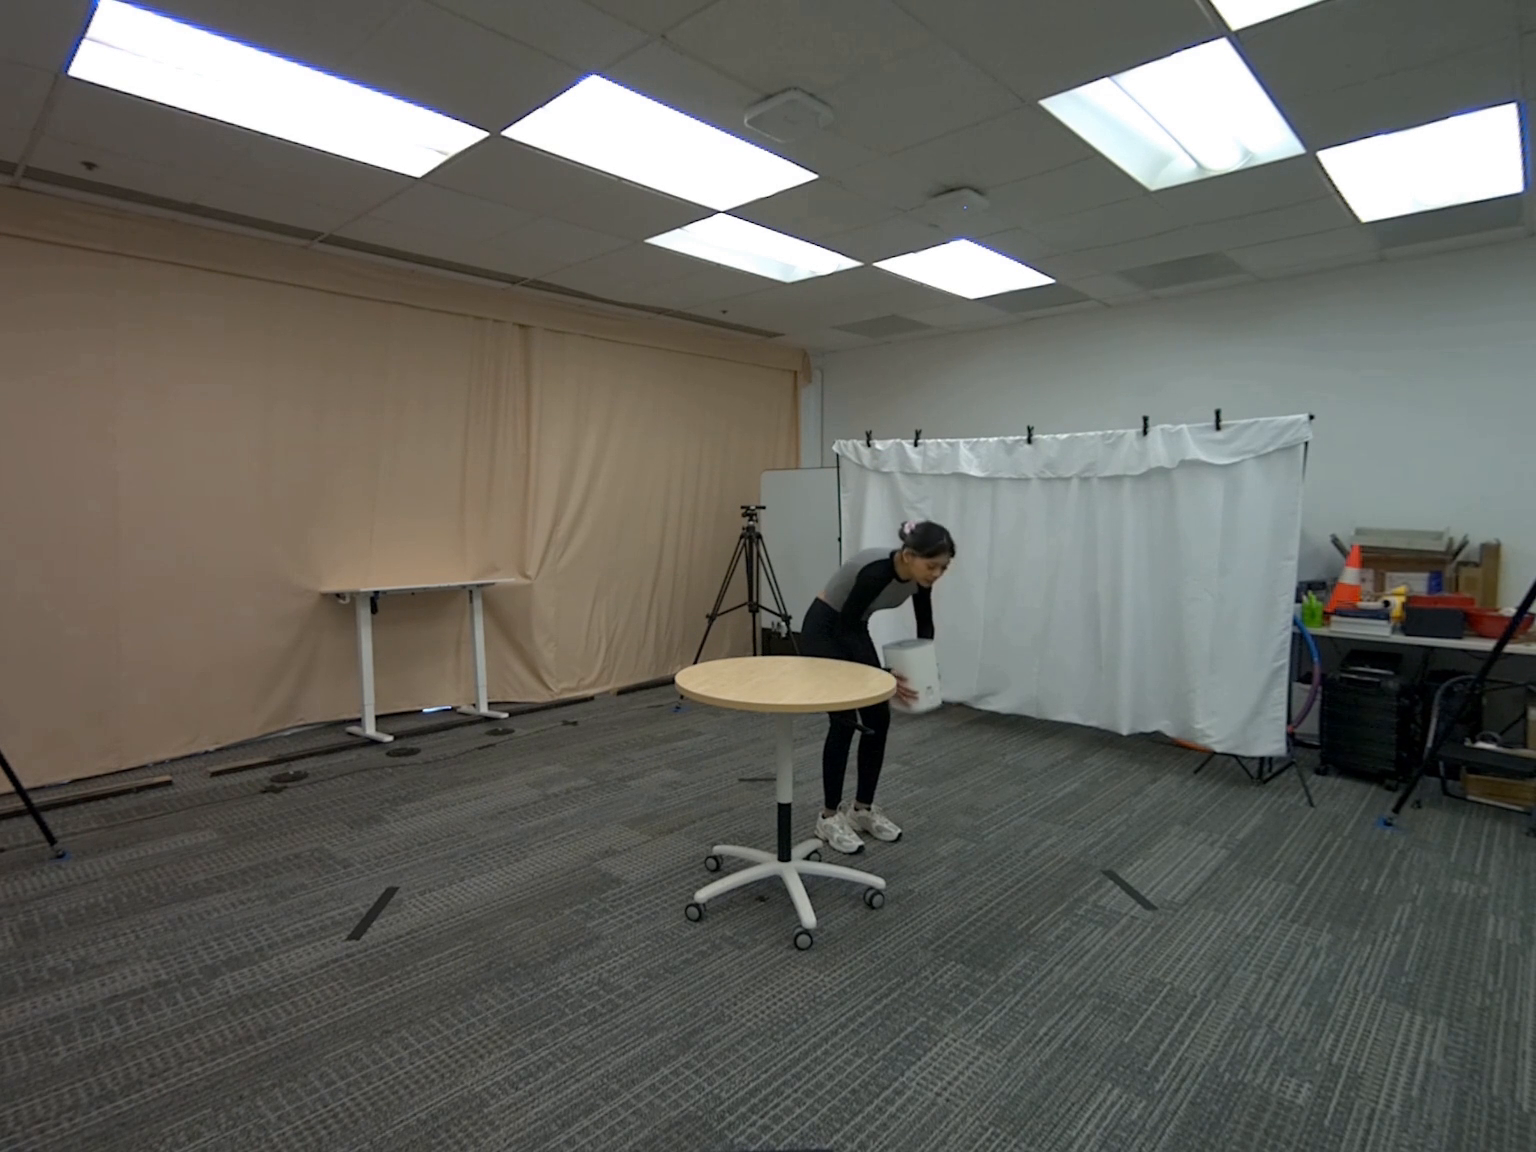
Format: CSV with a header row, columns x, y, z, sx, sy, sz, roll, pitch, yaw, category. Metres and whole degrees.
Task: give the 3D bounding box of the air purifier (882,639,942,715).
x,y,z,sx,sy,sz,roll,pitch,yaw,category
0.573,0.394,3.323,0.166,0.265,0.176,-11,4,-37,air purifier
